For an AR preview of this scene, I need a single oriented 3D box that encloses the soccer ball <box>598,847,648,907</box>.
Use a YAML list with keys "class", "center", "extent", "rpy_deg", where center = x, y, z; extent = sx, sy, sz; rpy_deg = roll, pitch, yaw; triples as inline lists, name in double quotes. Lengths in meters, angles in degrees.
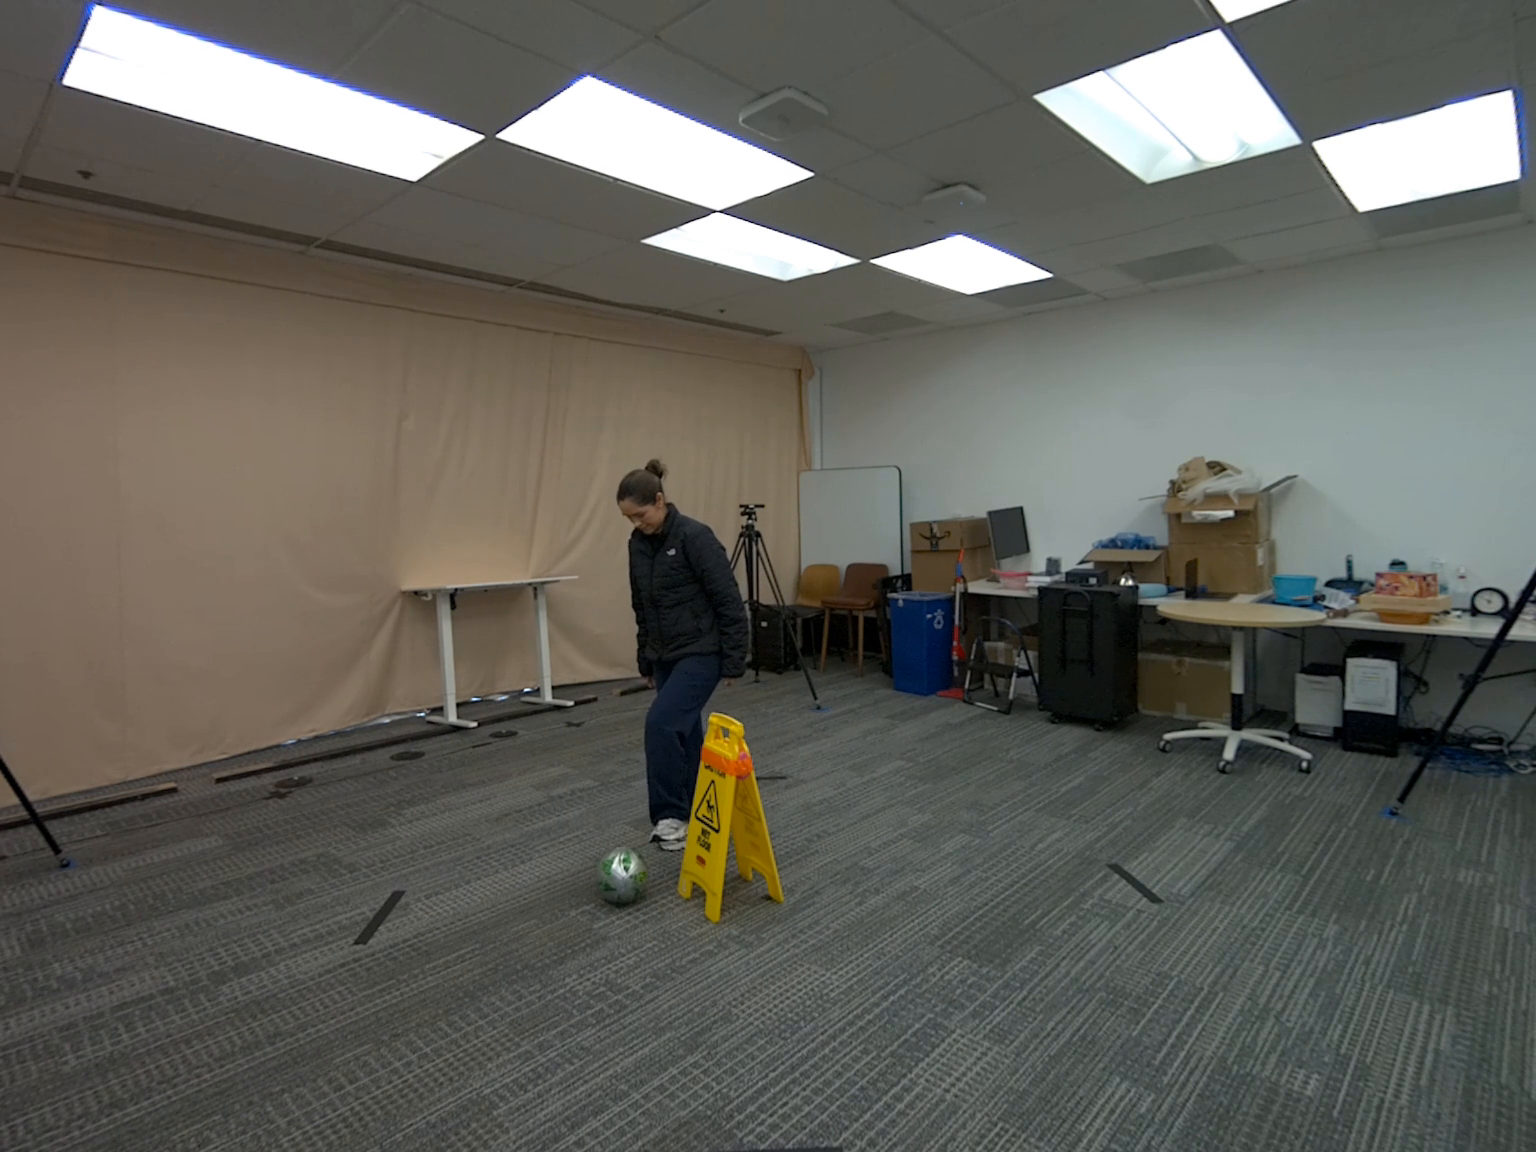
- class: "soccer ball"
  center: [-0.510, 1.060, 2.983]
  extent: [0.187, 0.187, 0.188]
  rpy_deg: [-1, 4, -2]
